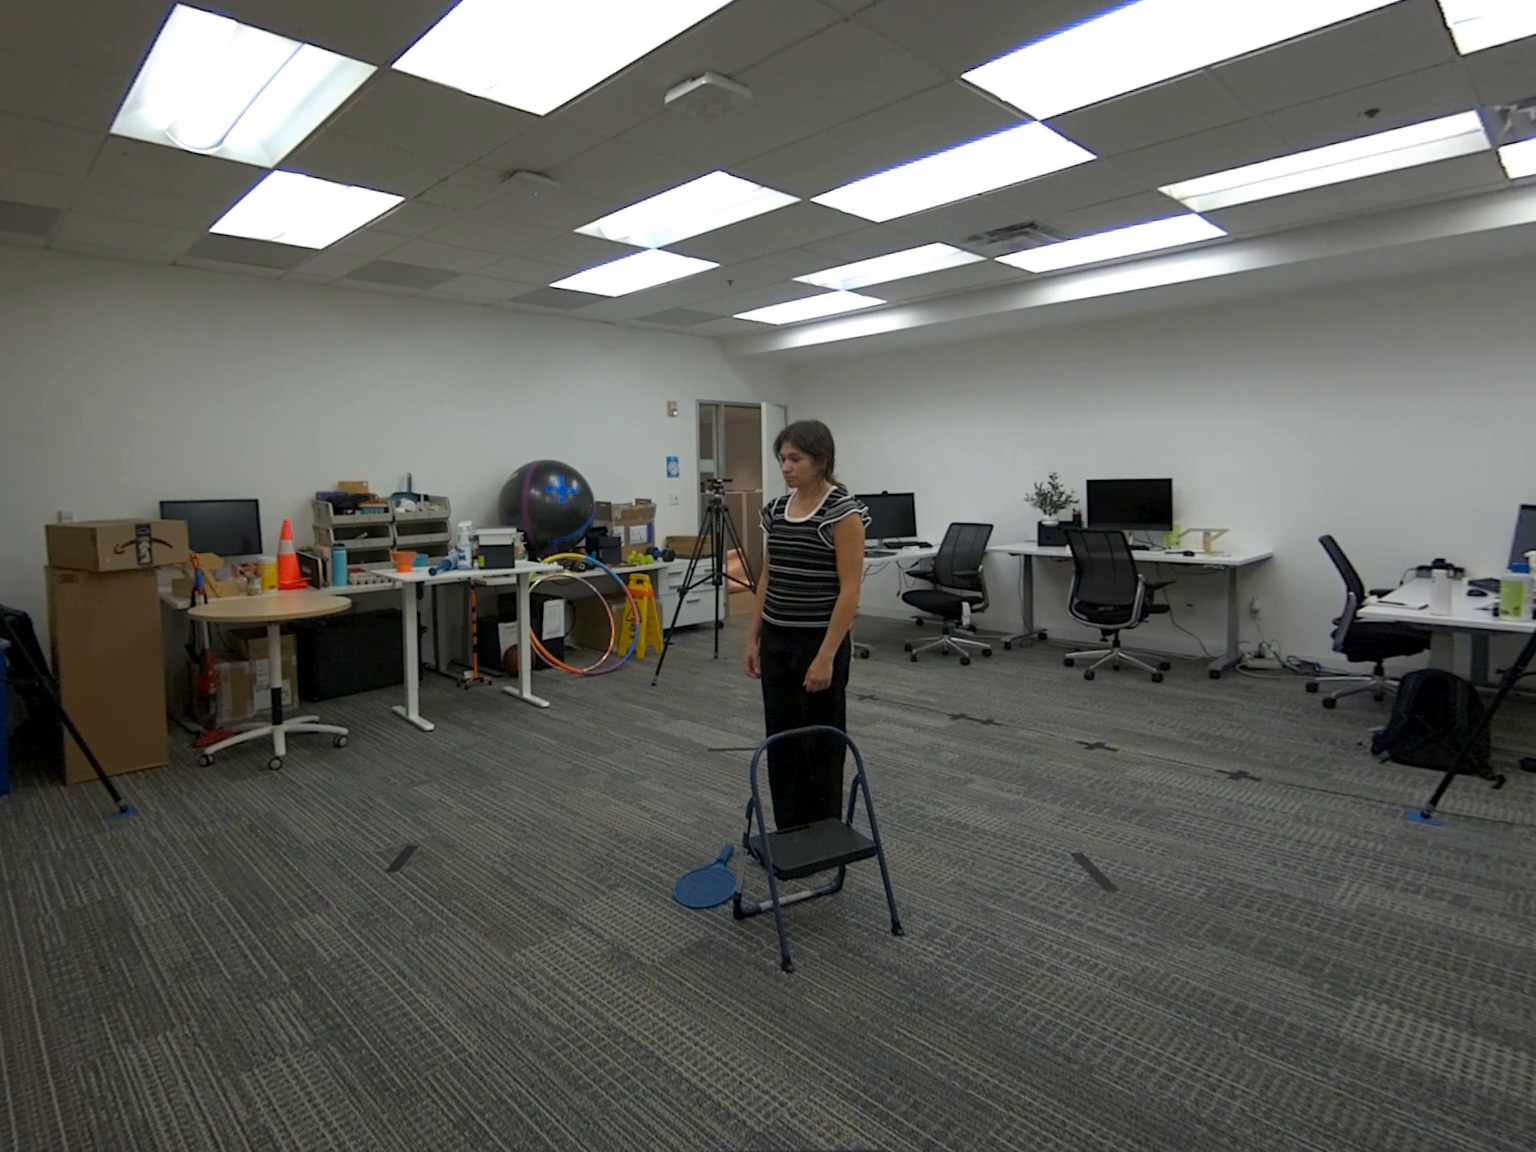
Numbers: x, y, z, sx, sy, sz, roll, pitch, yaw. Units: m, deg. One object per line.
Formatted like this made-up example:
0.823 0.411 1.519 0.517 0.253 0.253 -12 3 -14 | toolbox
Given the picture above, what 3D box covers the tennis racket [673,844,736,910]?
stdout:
-0.184 1.042 2.991 0.217 0.031 0.429 1 9 14 | tennis racket
